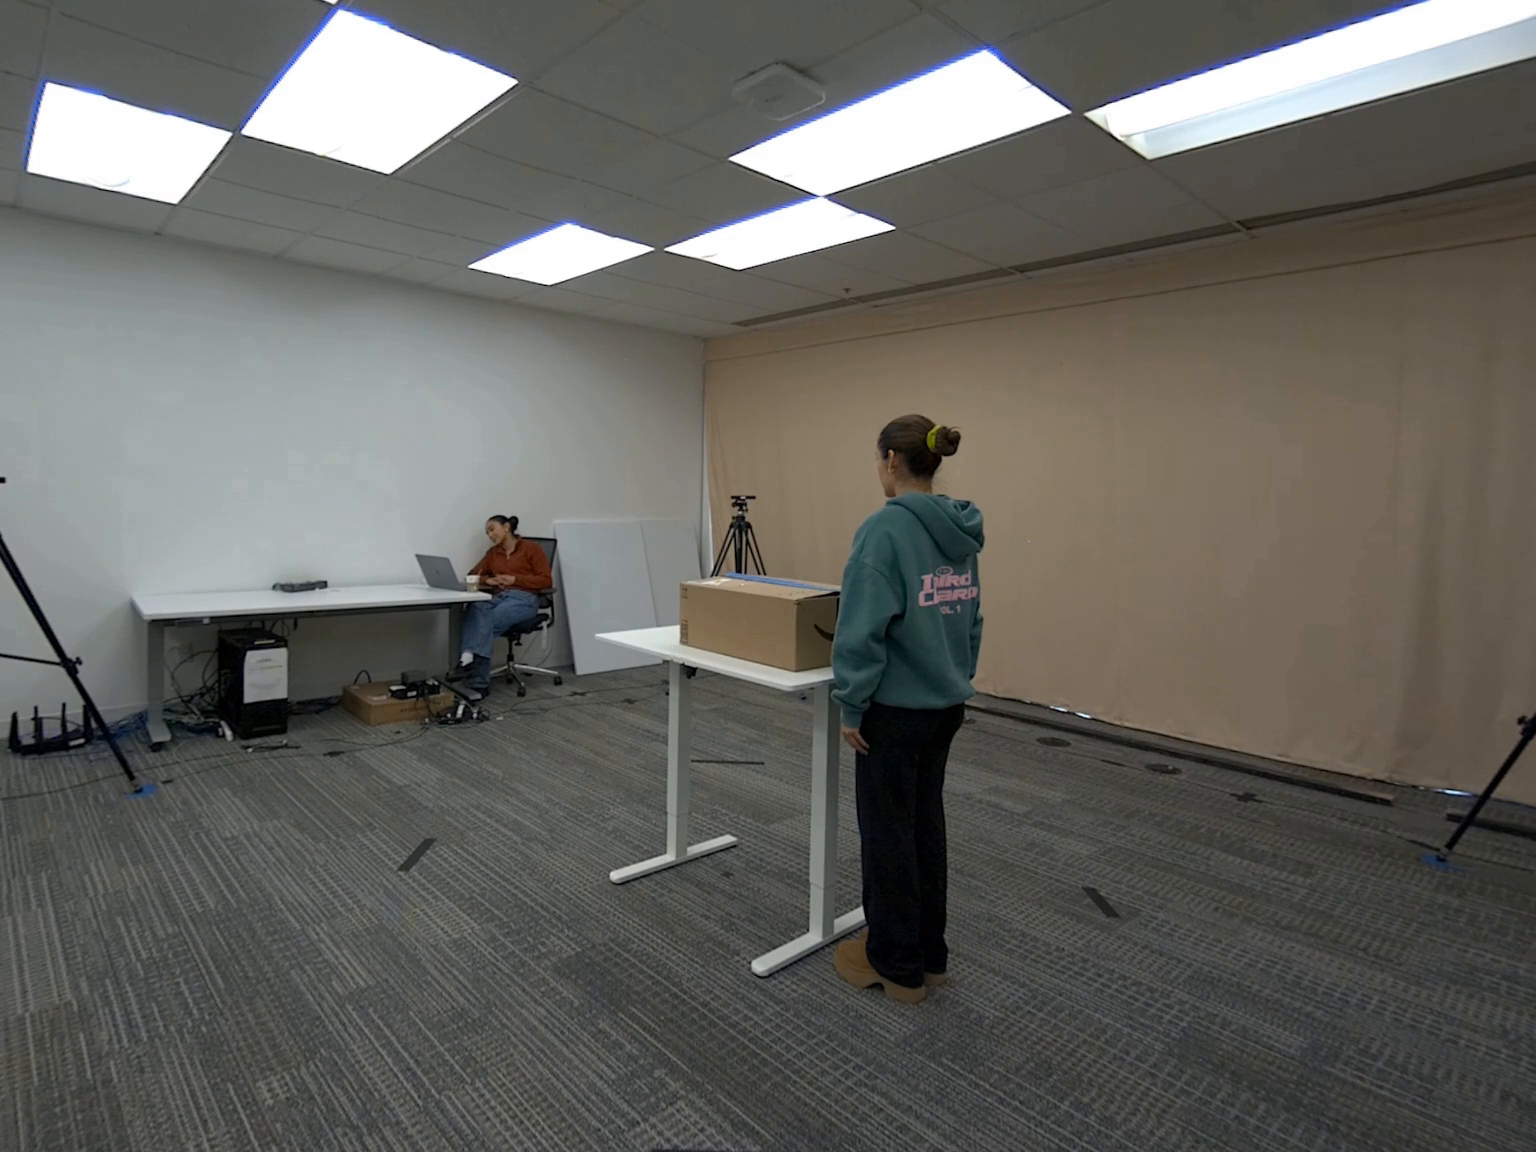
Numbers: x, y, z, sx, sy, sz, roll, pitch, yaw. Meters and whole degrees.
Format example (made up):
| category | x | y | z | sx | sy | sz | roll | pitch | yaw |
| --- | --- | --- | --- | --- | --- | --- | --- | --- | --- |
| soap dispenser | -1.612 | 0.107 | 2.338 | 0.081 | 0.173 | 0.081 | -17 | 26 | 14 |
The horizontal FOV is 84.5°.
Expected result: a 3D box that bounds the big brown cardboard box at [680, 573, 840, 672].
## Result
| category | x | y | z | sx | sy | sz | roll | pitch | yaw |
| --- | --- | --- | --- | --- | --- | --- | --- | --- | --- |
| big brown cardboard box | 0.031 | 0.142 | 2.821 | 0.408 | 0.232 | 0.604 | -3 | 8 | -42 |
